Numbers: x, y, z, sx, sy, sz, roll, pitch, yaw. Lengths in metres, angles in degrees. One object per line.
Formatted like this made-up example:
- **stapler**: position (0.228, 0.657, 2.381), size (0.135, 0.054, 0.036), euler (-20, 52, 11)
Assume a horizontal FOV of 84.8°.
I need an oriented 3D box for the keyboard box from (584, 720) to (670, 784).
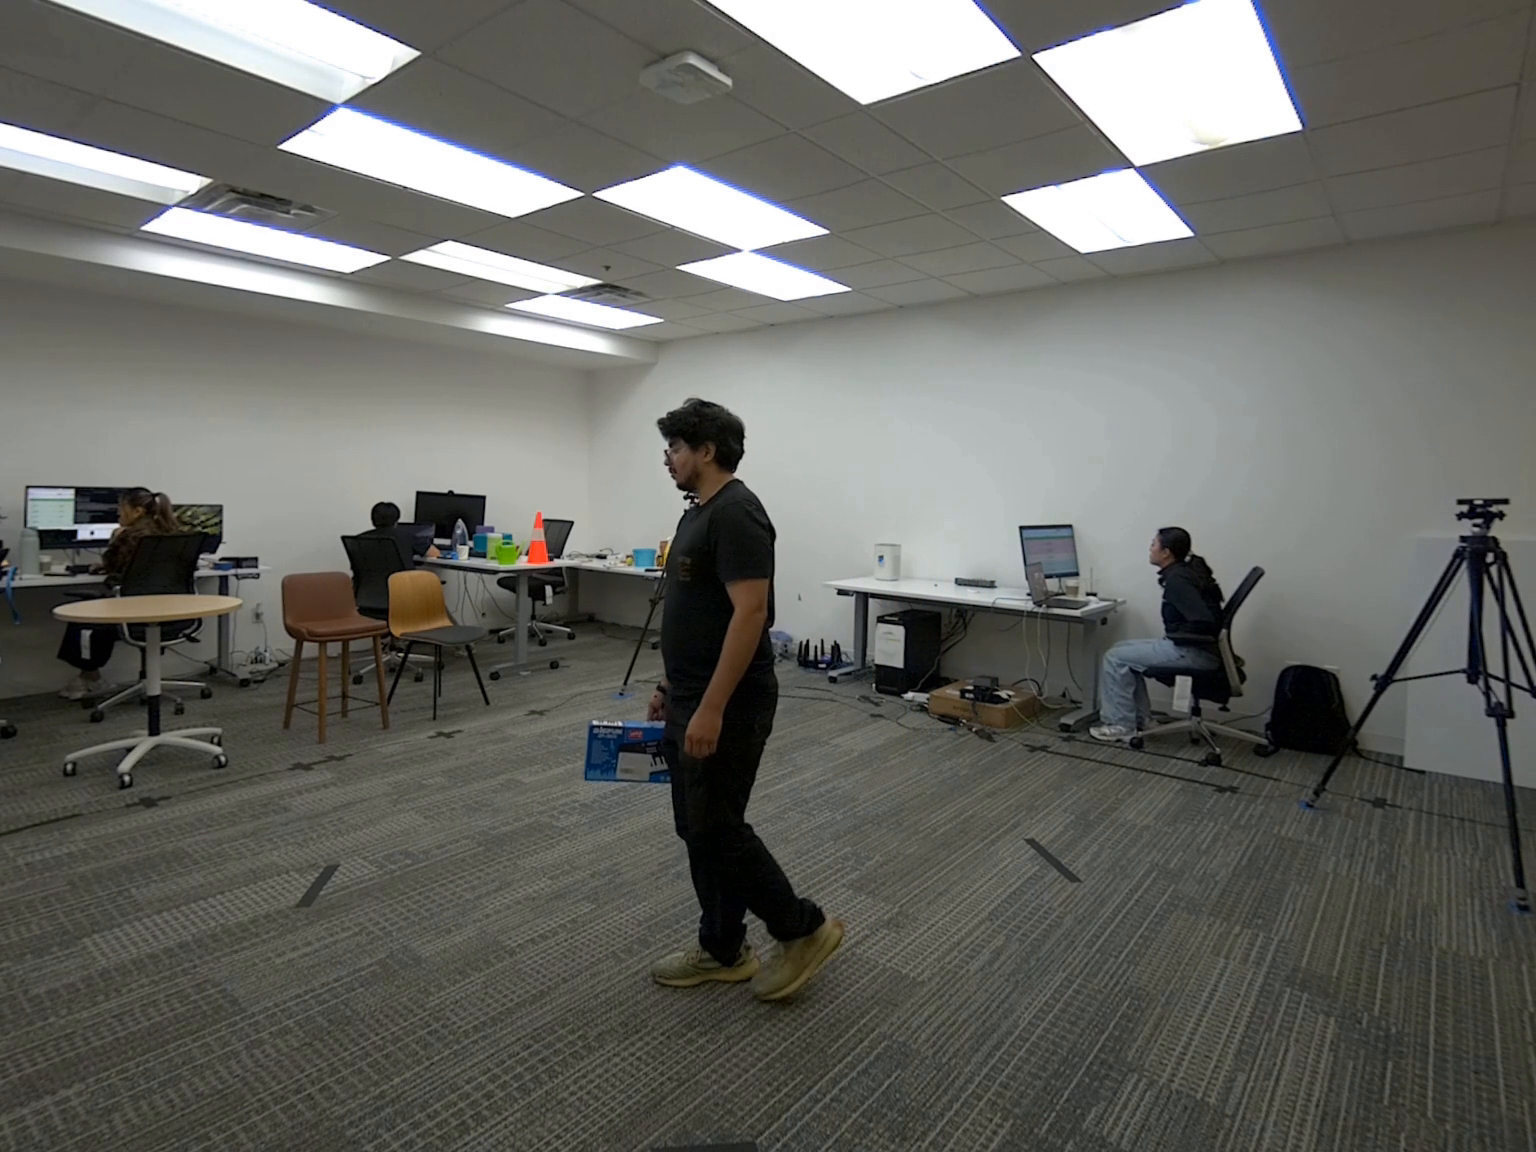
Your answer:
- **keyboard box**: position (-0.345, 0.543, 2.625), size (0.432, 0.176, 0.060), euler (5, 1, -9)
